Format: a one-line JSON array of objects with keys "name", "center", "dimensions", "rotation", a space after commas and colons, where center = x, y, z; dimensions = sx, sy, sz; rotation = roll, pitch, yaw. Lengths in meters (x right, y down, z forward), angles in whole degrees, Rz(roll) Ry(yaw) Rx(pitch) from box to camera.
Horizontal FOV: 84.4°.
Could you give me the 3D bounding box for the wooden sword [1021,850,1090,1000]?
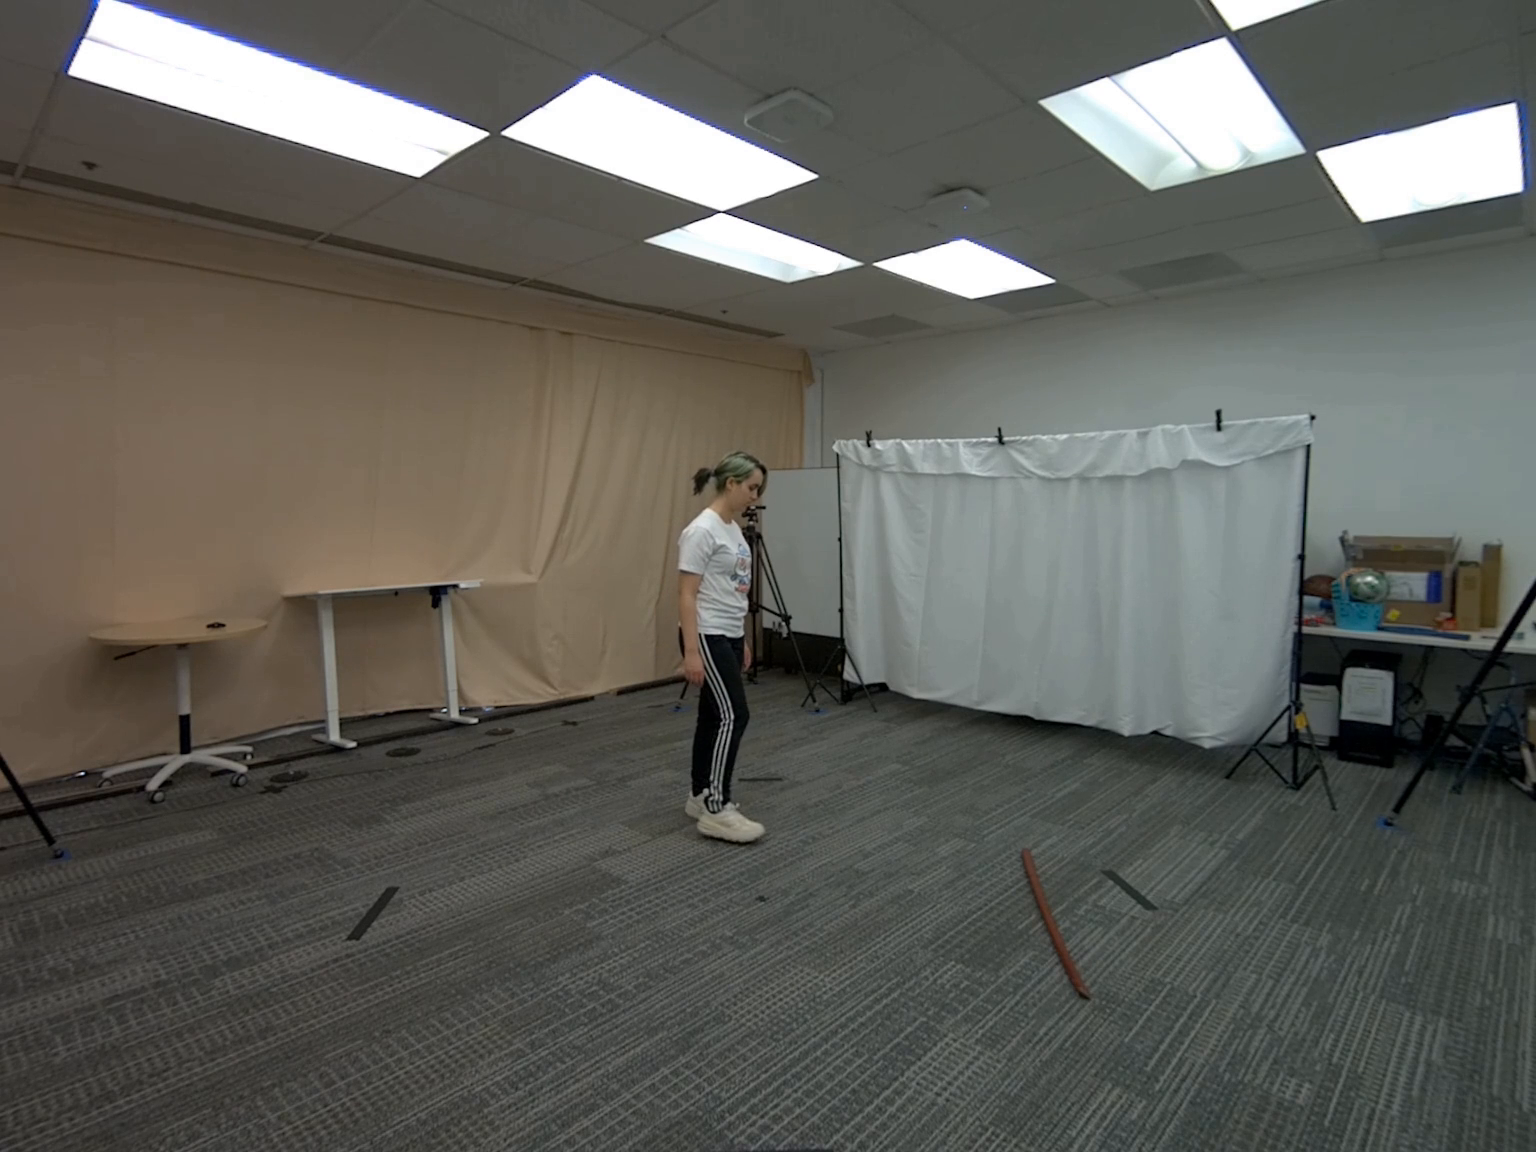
[{"name": "wooden sword", "center": [0.942, 1.126, 2.878], "dimensions": [0.051, 0.024, 1.017], "rotation": [-24, 2, 8]}]
